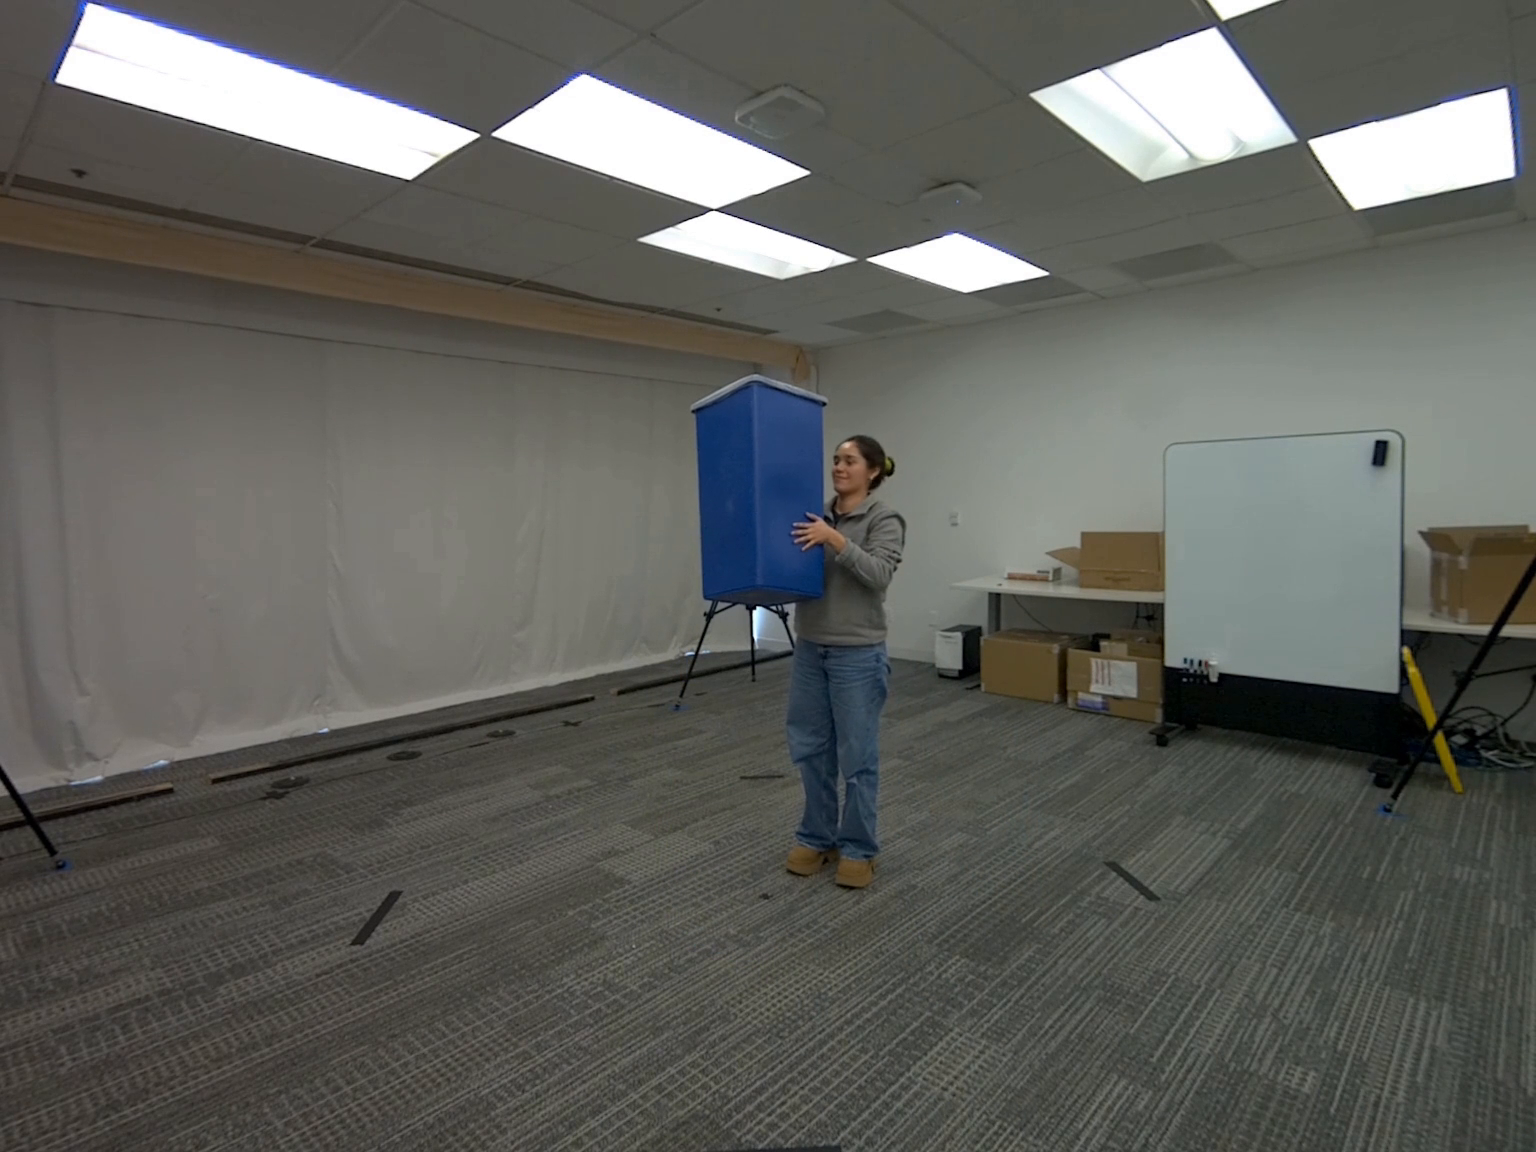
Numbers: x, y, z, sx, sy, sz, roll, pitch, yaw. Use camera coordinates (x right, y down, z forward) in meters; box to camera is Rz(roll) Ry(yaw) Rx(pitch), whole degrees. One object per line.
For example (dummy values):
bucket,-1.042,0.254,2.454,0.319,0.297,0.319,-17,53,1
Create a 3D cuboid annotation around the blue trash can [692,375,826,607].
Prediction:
blue trash can,-0.022,-0.281,2.943,0.361,0.719,0.388,9,-16,-40
